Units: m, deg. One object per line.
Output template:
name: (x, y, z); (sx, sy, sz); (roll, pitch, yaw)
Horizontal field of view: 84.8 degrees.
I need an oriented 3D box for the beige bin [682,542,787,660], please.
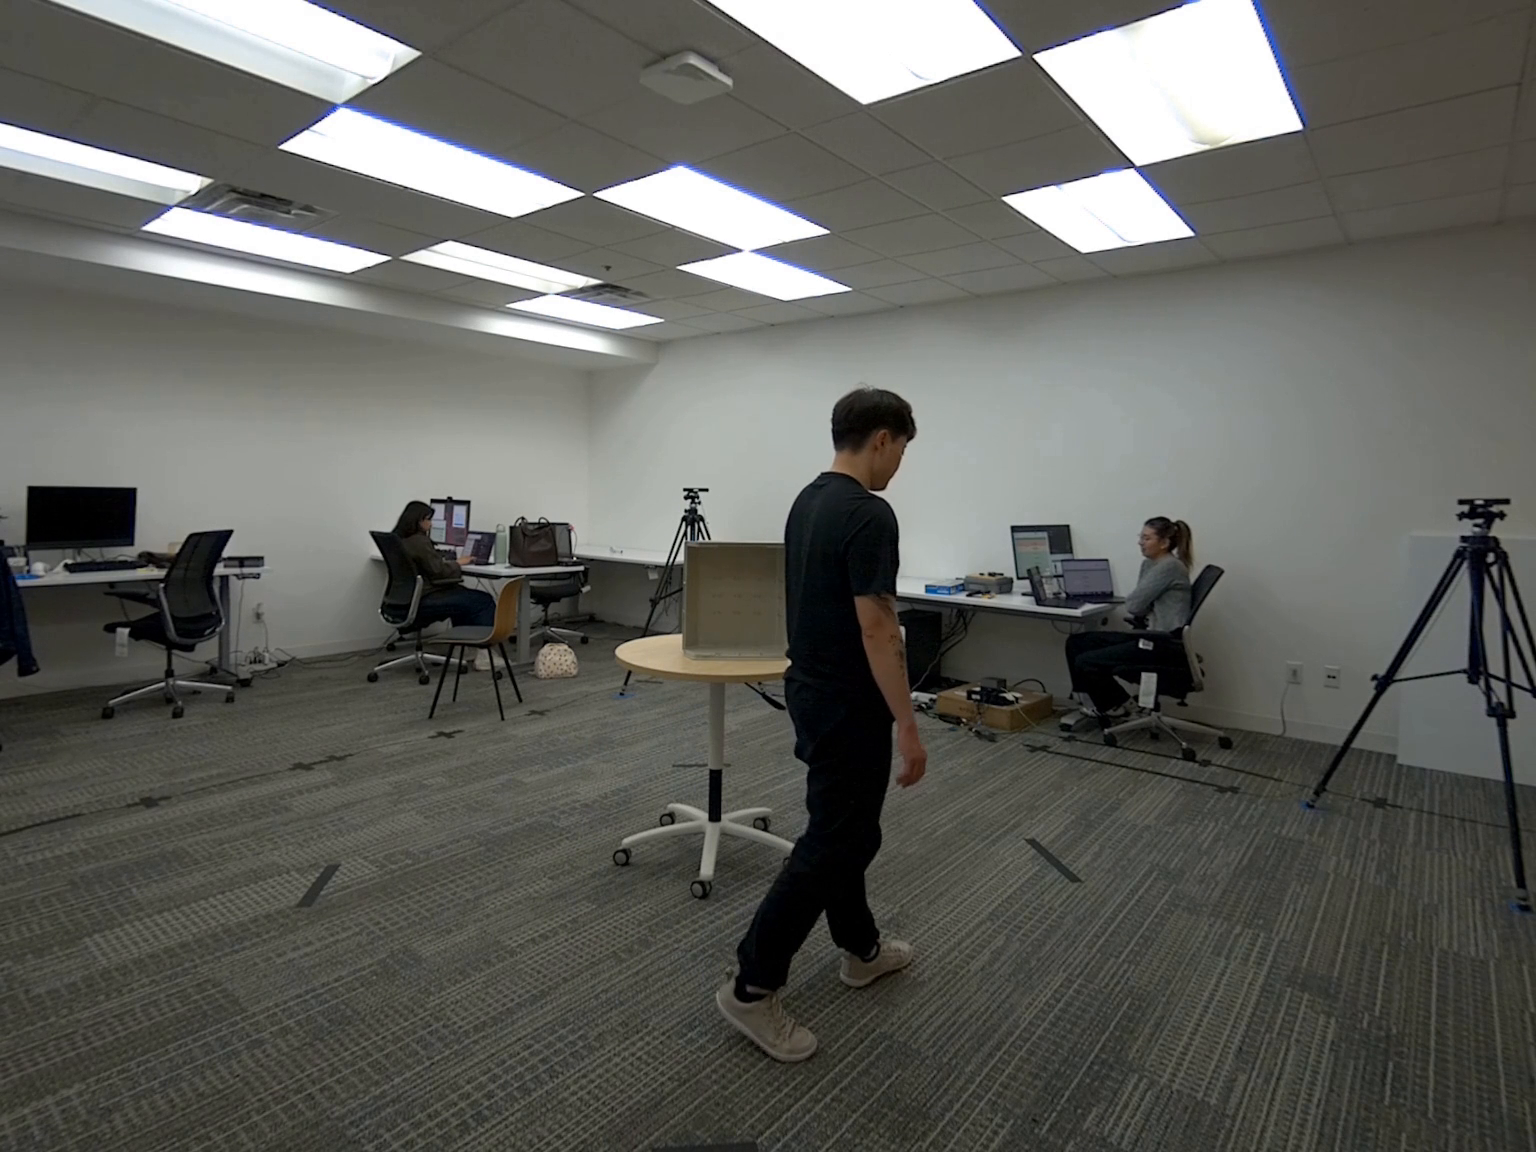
beige bin: (-0.130, 0.078, 3.112); (0.375, 0.422, 0.190); (1, 1, -5)
